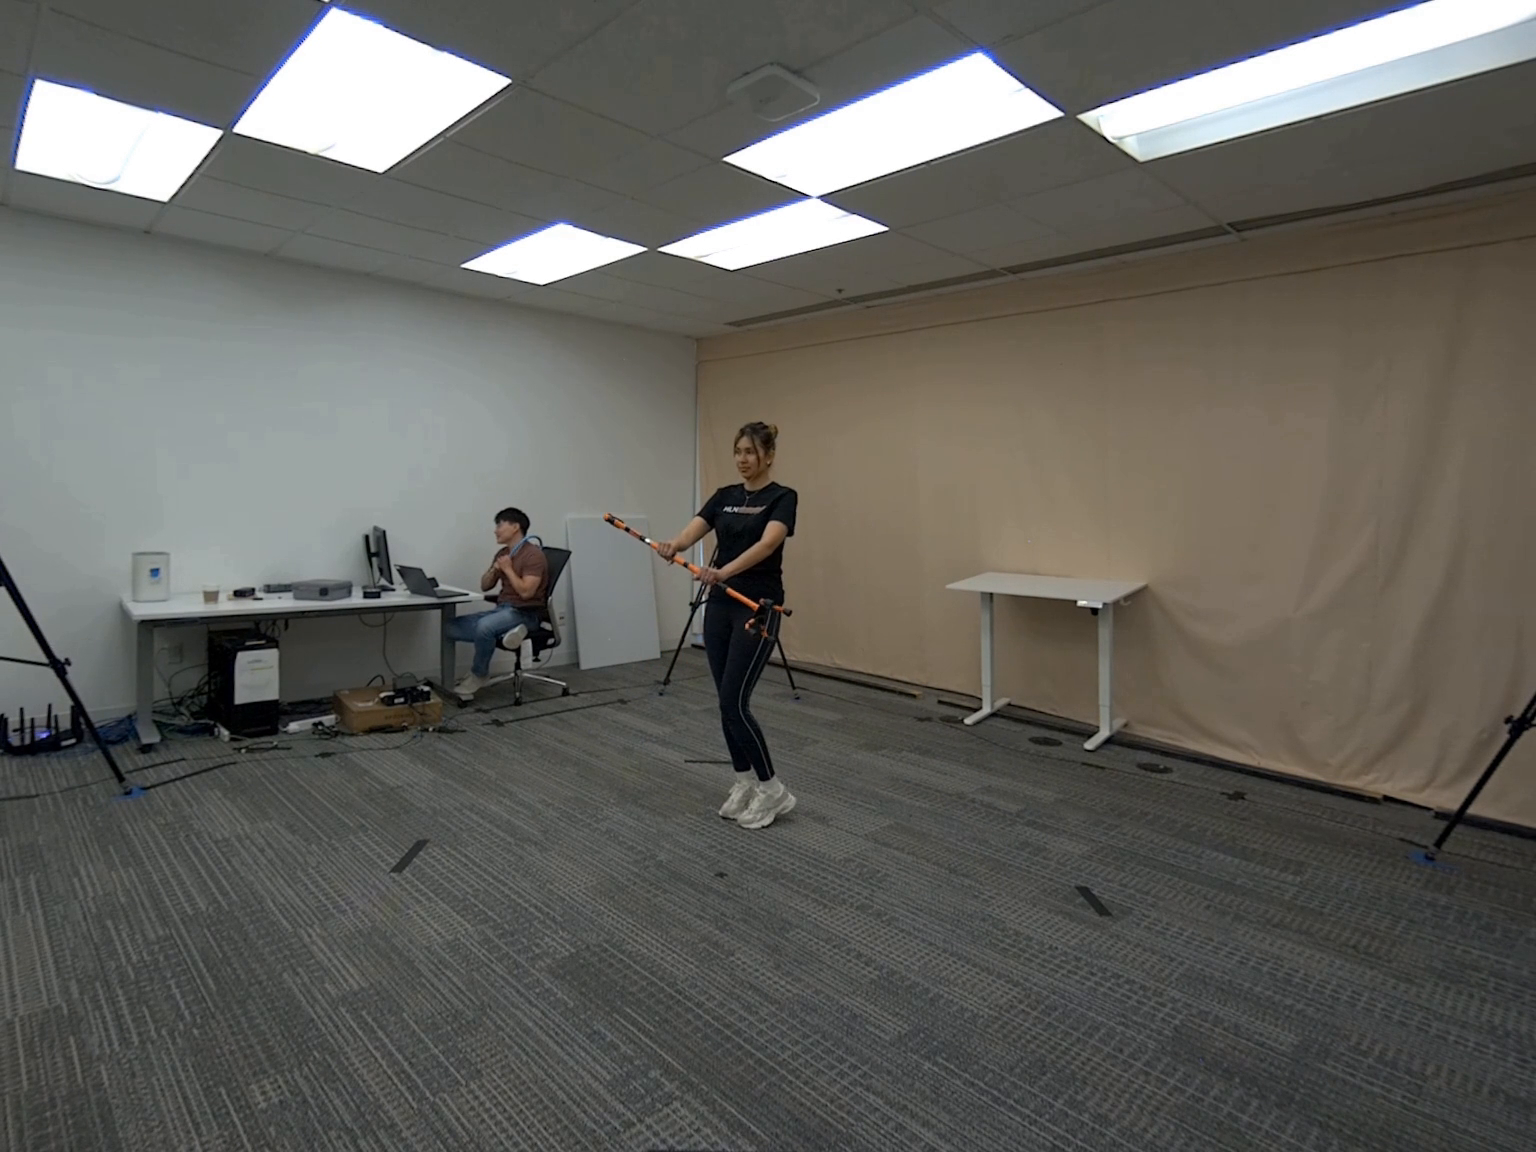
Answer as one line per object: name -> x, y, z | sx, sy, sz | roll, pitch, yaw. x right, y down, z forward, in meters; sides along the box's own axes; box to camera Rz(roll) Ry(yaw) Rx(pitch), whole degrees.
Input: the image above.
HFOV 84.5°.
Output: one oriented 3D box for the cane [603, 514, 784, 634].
cane -> -0.336, -0.038, 3.307 | 0.933, 0.151, 0.201 | 32, 5, 30
